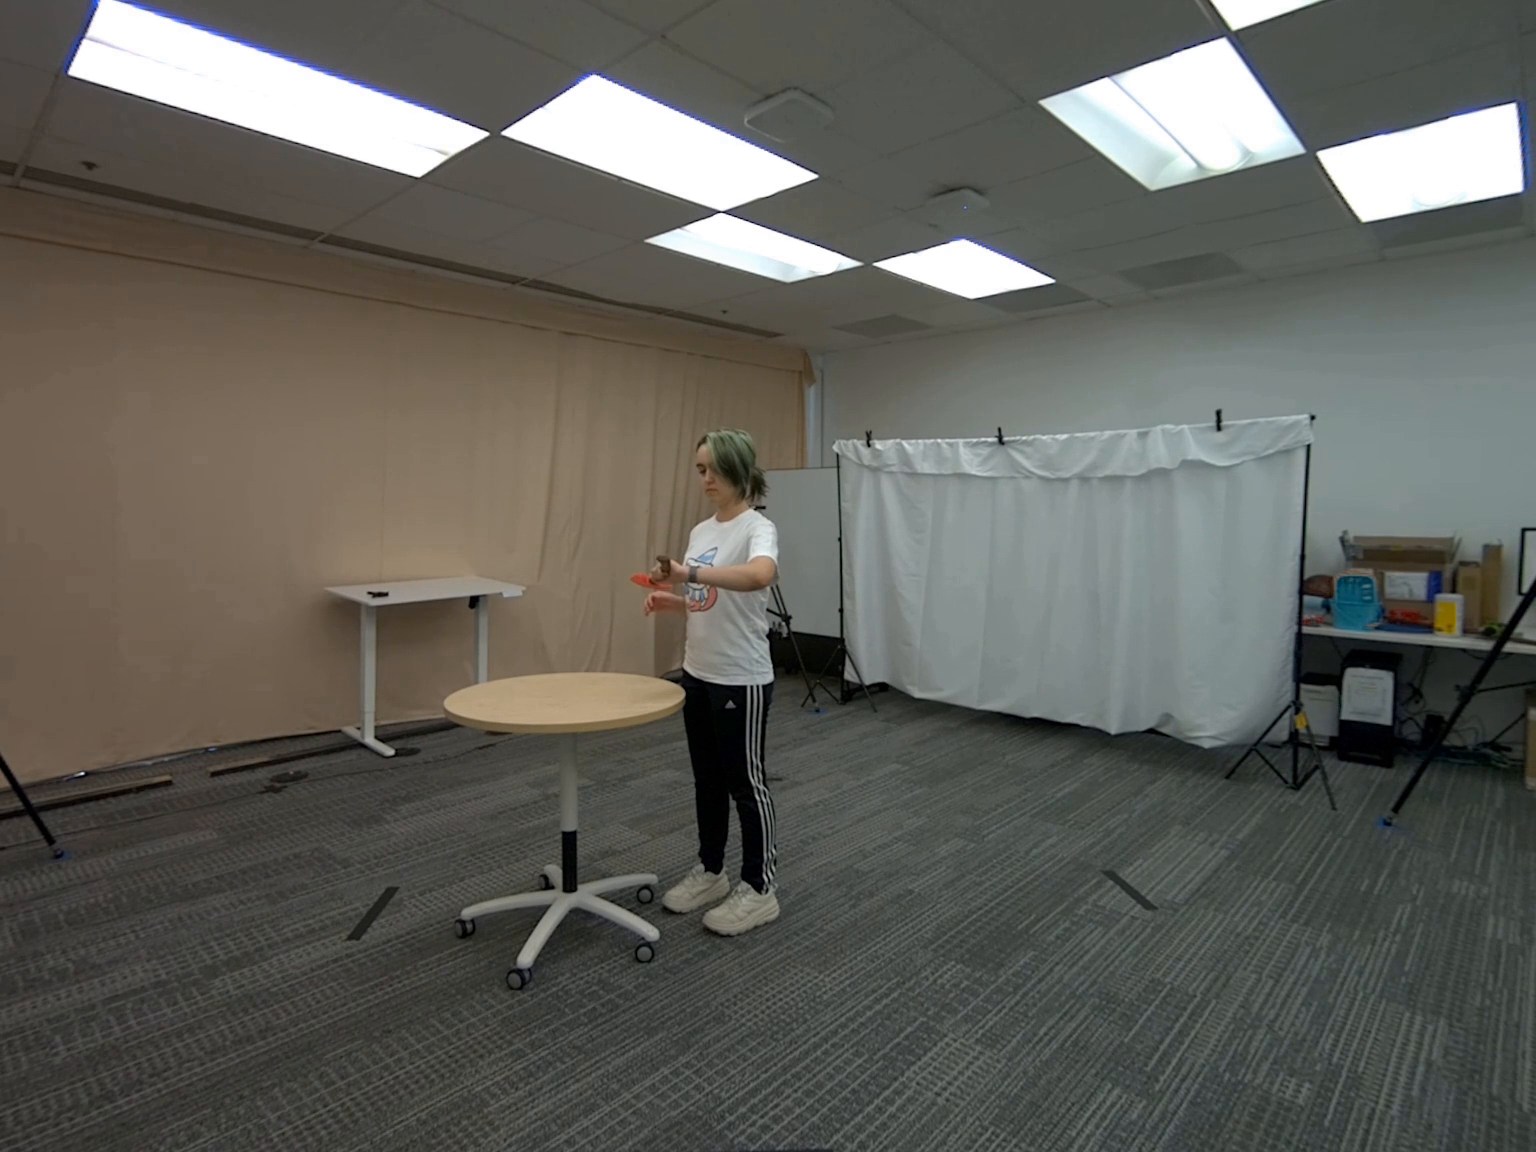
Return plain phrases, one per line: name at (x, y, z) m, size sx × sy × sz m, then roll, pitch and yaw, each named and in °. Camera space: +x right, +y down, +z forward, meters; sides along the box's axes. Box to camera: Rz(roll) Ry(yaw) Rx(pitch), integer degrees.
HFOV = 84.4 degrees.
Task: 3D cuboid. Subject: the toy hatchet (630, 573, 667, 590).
toy hatchet at (-0.341, -0.012, 2.518) m, size 0.131 × 0.030 × 0.267 m, roll 7°, pitch -19°, yaw -1°
